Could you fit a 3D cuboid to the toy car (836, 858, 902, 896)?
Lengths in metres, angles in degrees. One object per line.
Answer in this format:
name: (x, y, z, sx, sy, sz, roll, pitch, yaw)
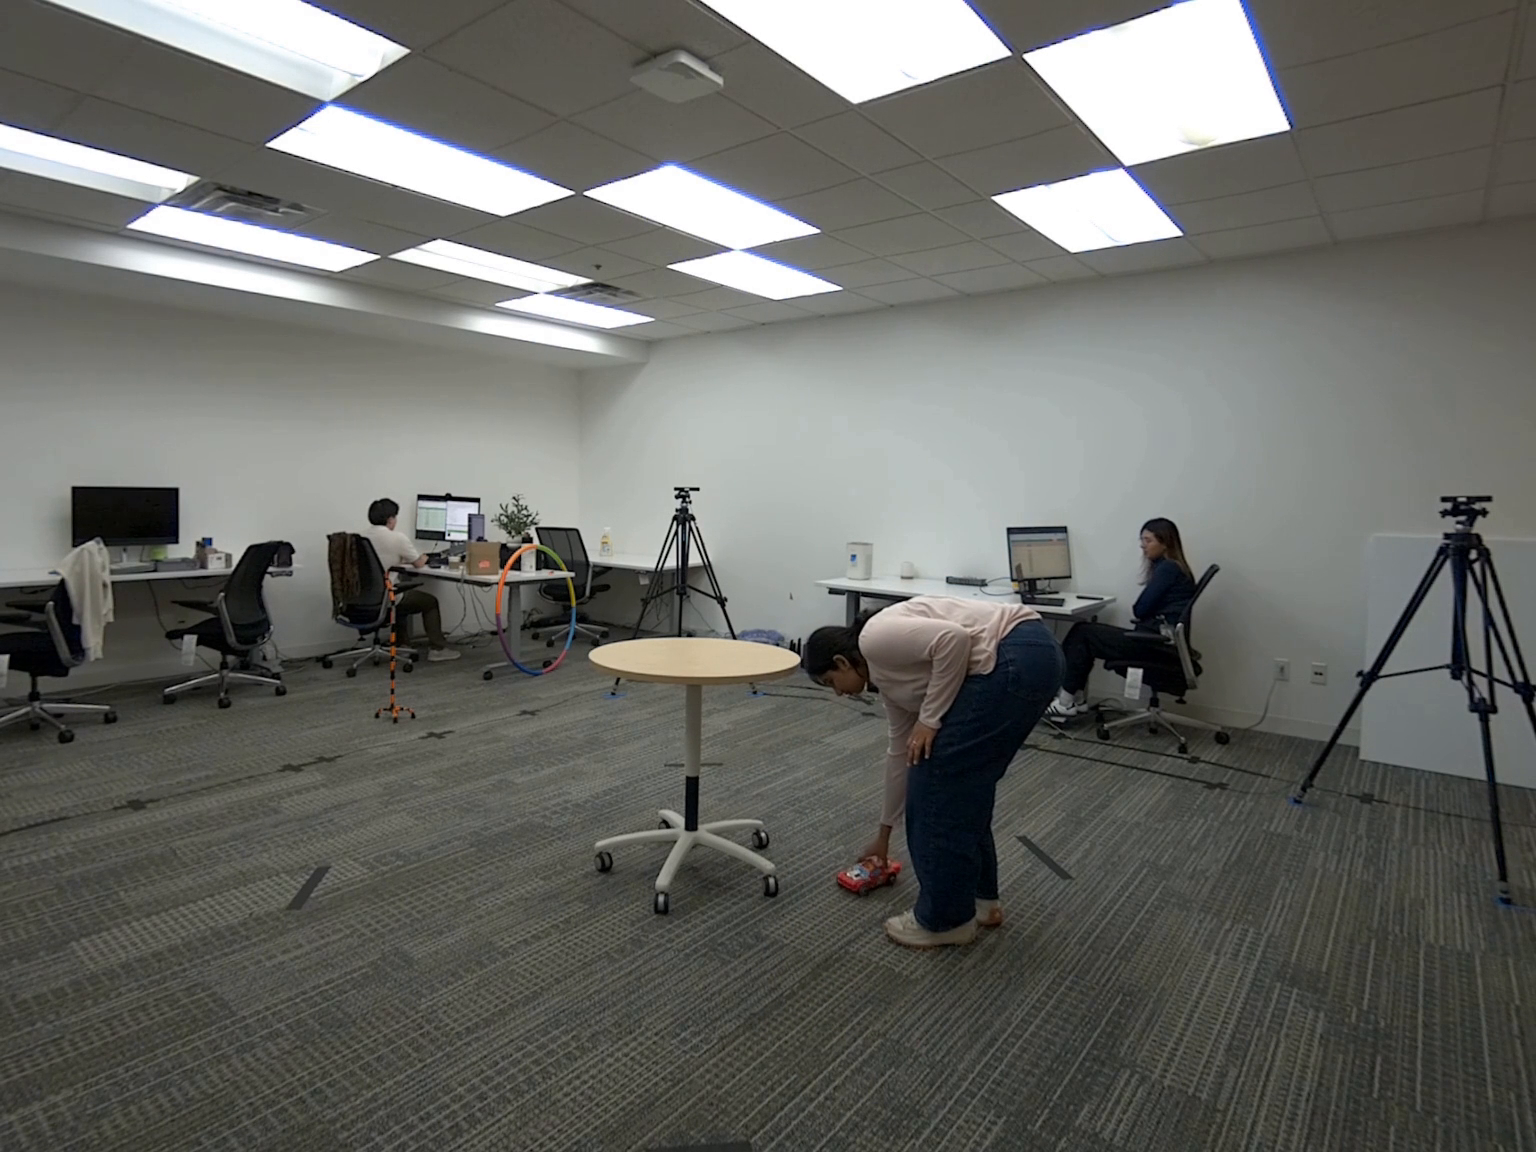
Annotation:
toy car: (0.361, 1.056, 3.016, 0.249, 0.082, 0.135, -14, 14, -34)
